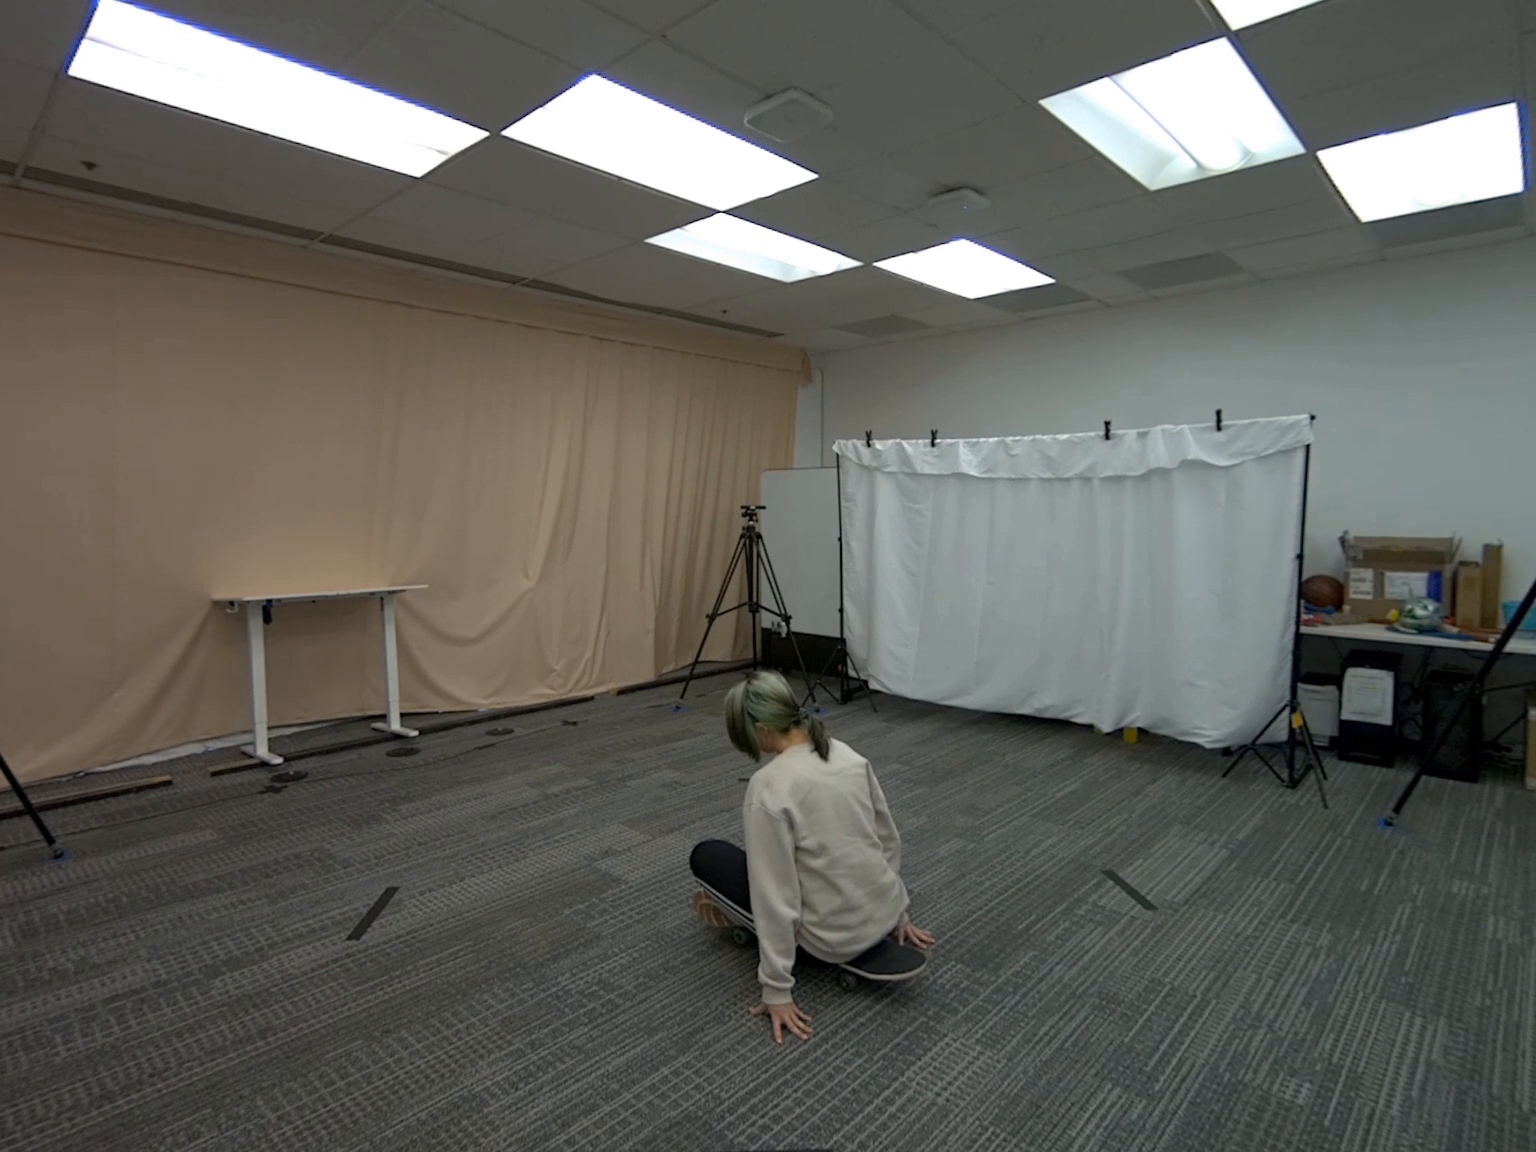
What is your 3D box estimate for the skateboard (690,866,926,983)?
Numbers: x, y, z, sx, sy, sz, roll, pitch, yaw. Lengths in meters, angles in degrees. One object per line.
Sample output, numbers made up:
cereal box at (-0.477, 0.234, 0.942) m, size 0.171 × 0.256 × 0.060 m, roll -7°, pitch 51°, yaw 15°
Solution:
skateboard at (0.111, 1.121, 2.596) m, size 0.811 × 0.110 × 0.188 m, roll 5°, pitch 10°, yaw 38°
